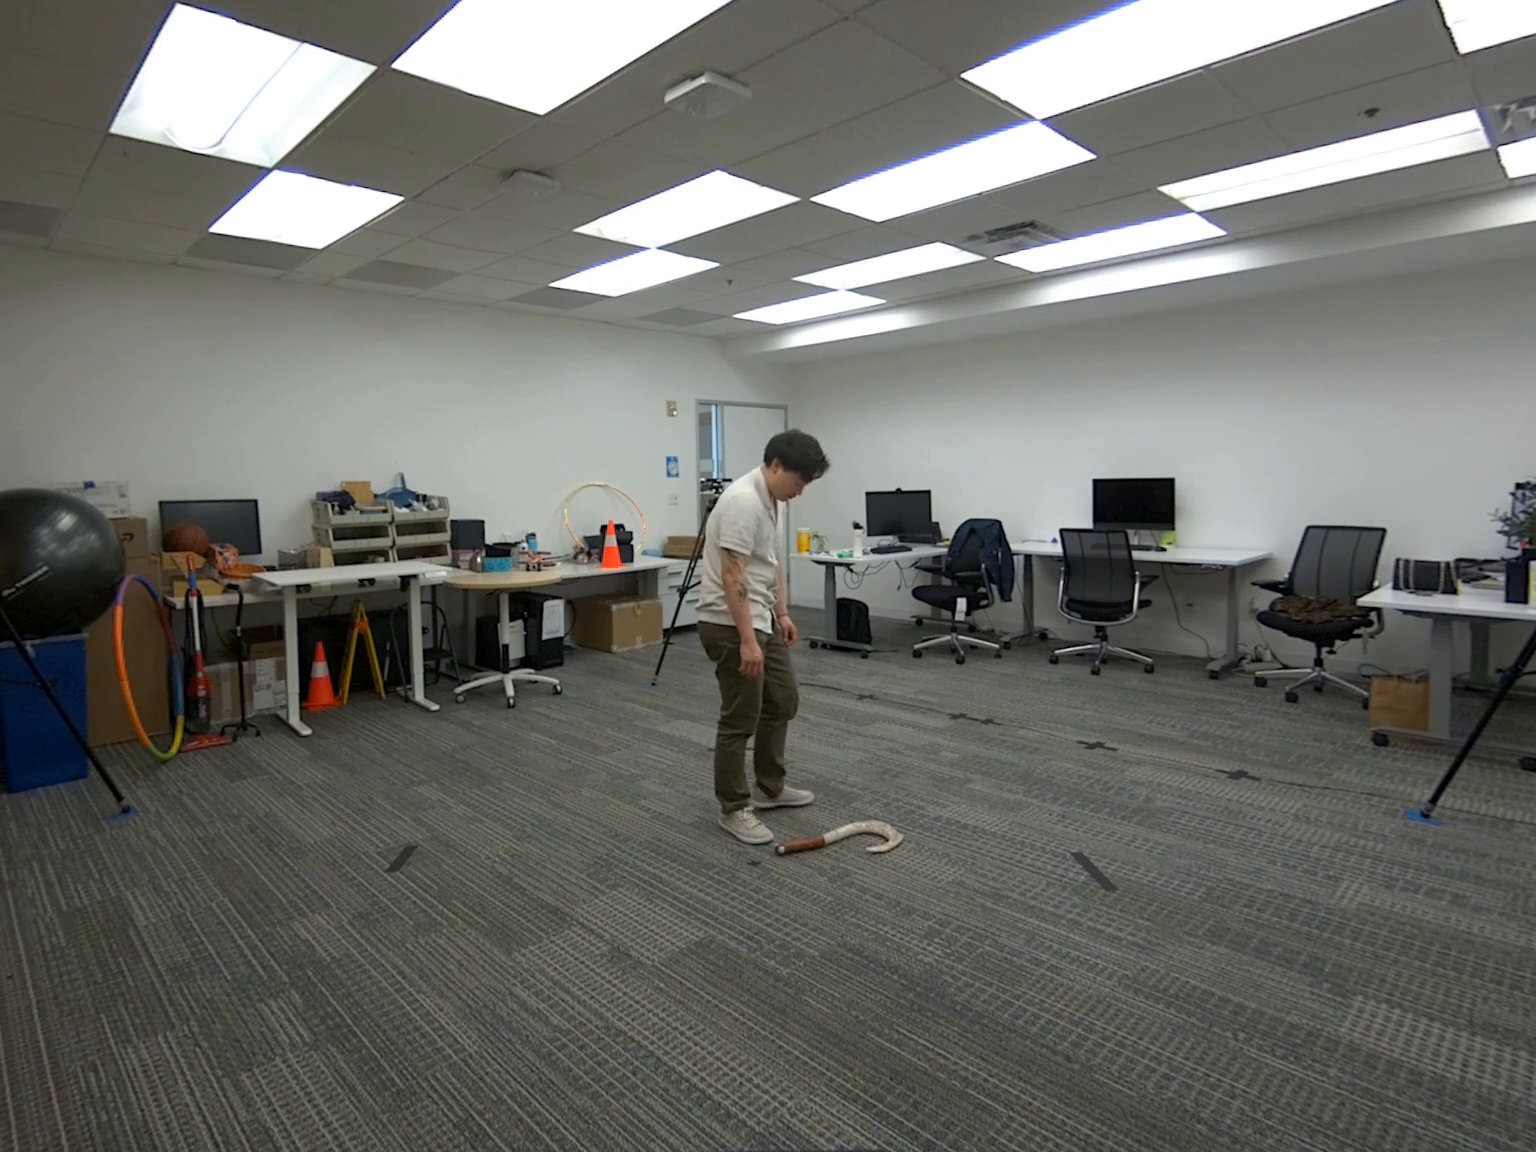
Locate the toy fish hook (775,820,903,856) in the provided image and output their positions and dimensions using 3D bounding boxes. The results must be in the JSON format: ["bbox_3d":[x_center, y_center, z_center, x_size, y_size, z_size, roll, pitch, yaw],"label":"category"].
[{"bbox_3d":[0.275,1.002,3.219,0.496,0.048,0.230,-5,6,-25],"label":"toy fish hook"}]
